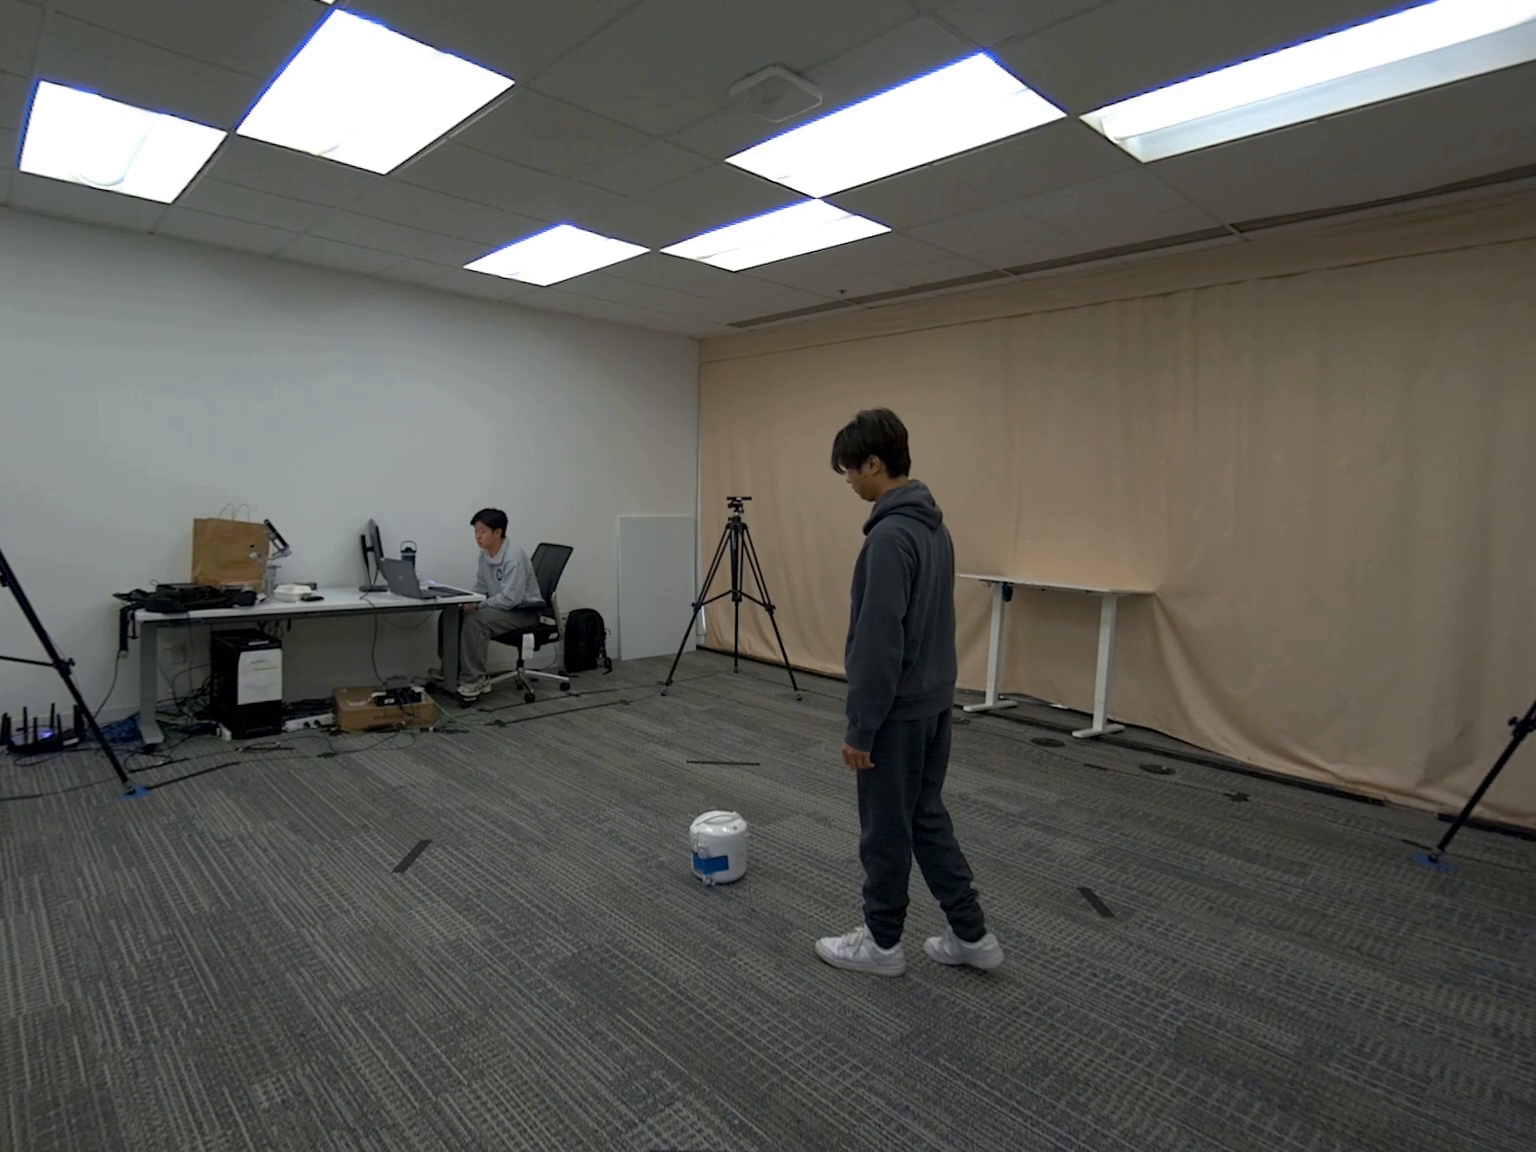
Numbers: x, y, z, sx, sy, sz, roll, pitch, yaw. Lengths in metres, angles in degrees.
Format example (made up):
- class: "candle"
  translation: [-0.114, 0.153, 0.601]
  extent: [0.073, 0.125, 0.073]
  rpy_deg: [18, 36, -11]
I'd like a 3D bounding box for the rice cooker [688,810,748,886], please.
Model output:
- class: "rice cooker"
  translation: [-0.188, 0.987, 3.108]
  extent: [0.217, 0.232, 0.222]
  rpy_deg: [0, 5, -22]
